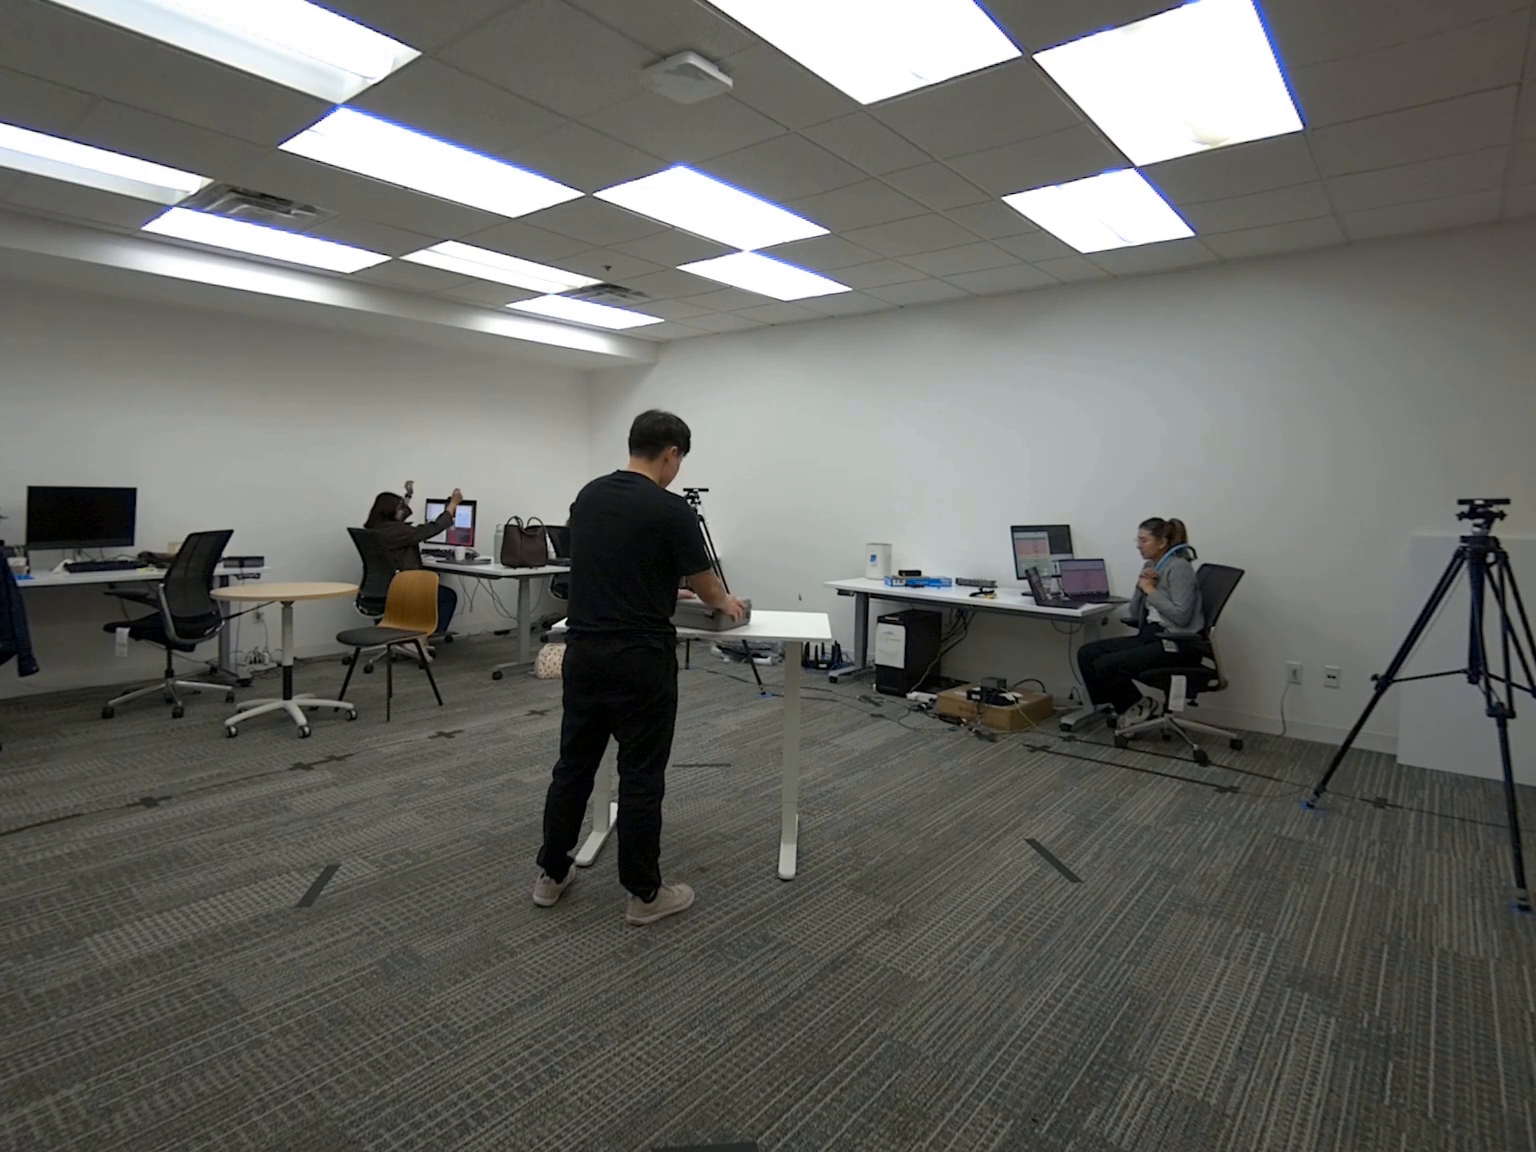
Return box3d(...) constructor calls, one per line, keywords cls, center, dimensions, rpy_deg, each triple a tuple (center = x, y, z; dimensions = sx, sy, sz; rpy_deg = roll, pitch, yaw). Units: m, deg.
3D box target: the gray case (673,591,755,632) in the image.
box3d(cls="gray case", center=(-0.230, 0.128, 3.200), dimensions=(0.264, 0.104, 0.254), rpy_deg=(3, 6, 30))
